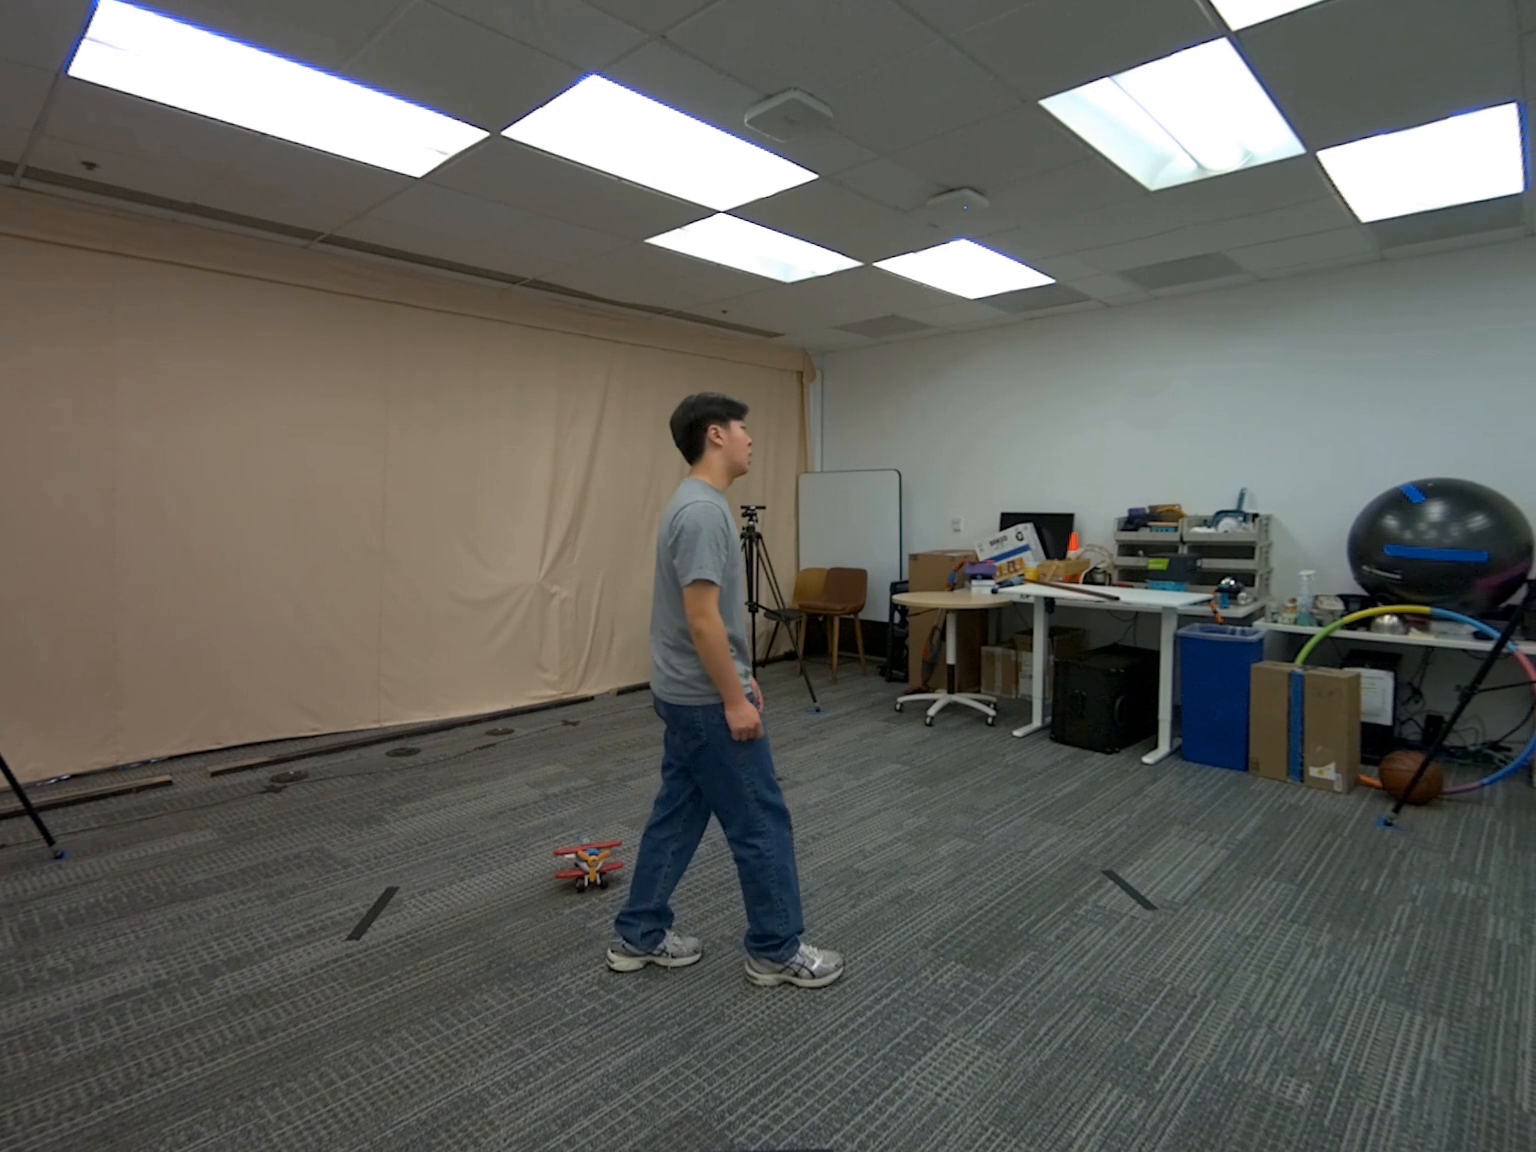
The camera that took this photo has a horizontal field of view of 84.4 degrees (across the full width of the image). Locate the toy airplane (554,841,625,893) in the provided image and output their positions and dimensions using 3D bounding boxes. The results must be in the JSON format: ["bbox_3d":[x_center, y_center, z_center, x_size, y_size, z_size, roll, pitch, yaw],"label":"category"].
[{"bbox_3d":[-0.696,1.066,3.133,0.268,0.156,0.243,4,5,39],"label":"toy airplane"}]
